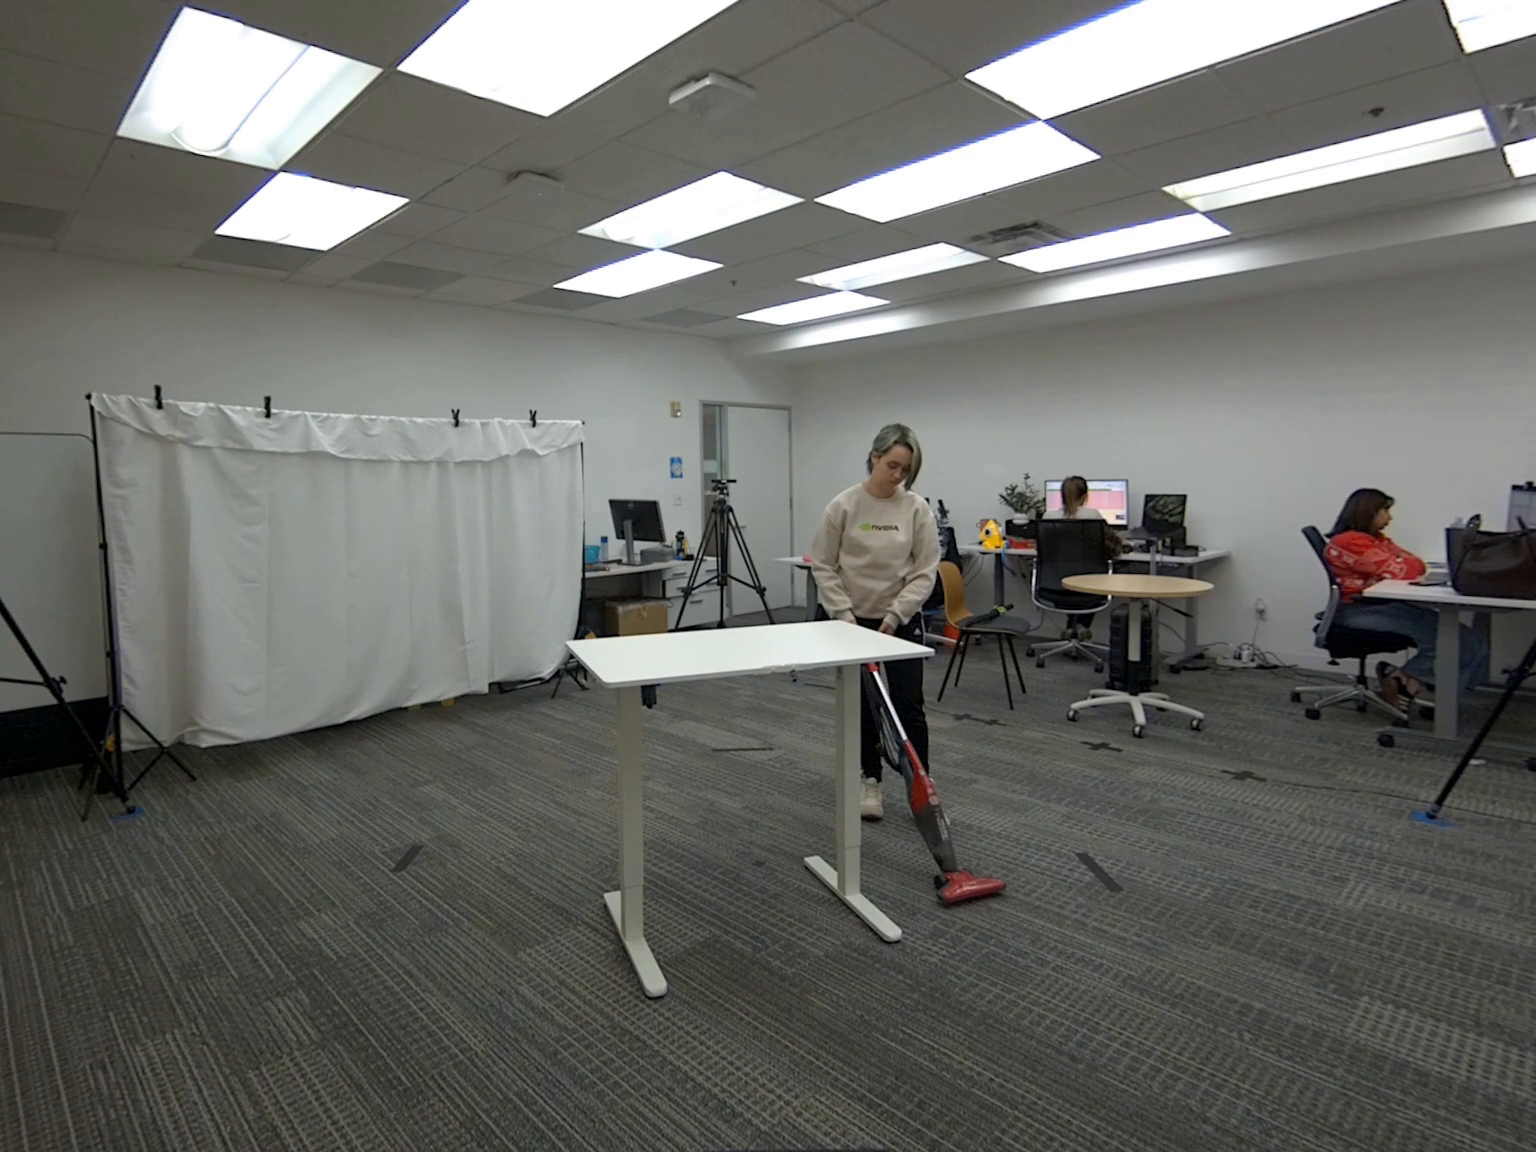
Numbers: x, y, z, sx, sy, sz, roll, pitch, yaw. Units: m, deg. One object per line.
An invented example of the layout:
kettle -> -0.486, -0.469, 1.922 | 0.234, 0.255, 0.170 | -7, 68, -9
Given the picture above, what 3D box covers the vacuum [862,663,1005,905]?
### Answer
vacuum -> 0.502, 0.649, 3.168 | 0.246, 1.086, 0.142 | 1, -43, -28
